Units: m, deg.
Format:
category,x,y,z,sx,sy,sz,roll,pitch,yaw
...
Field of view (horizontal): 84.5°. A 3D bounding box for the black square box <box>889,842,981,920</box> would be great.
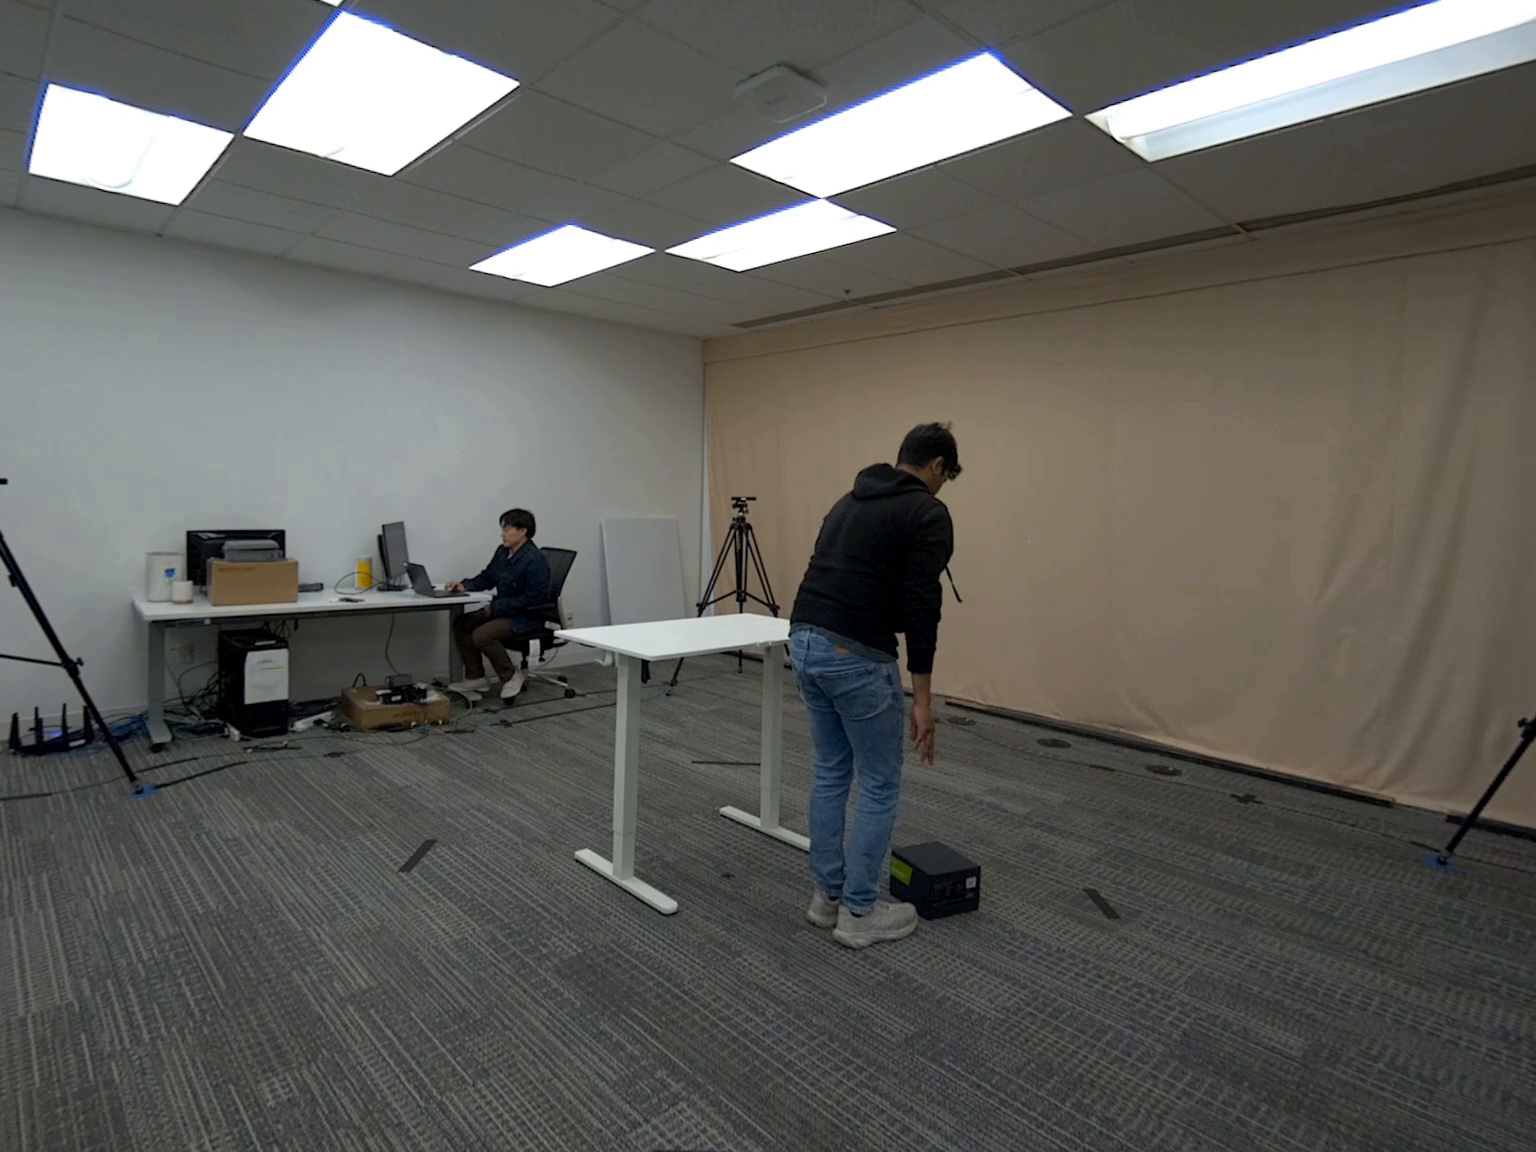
category,x,y,z,sx,sy,sz,roll,pitch,yaw
black square box,0.574,1.055,2.943,0.213,0.155,0.233,-1,5,-27
